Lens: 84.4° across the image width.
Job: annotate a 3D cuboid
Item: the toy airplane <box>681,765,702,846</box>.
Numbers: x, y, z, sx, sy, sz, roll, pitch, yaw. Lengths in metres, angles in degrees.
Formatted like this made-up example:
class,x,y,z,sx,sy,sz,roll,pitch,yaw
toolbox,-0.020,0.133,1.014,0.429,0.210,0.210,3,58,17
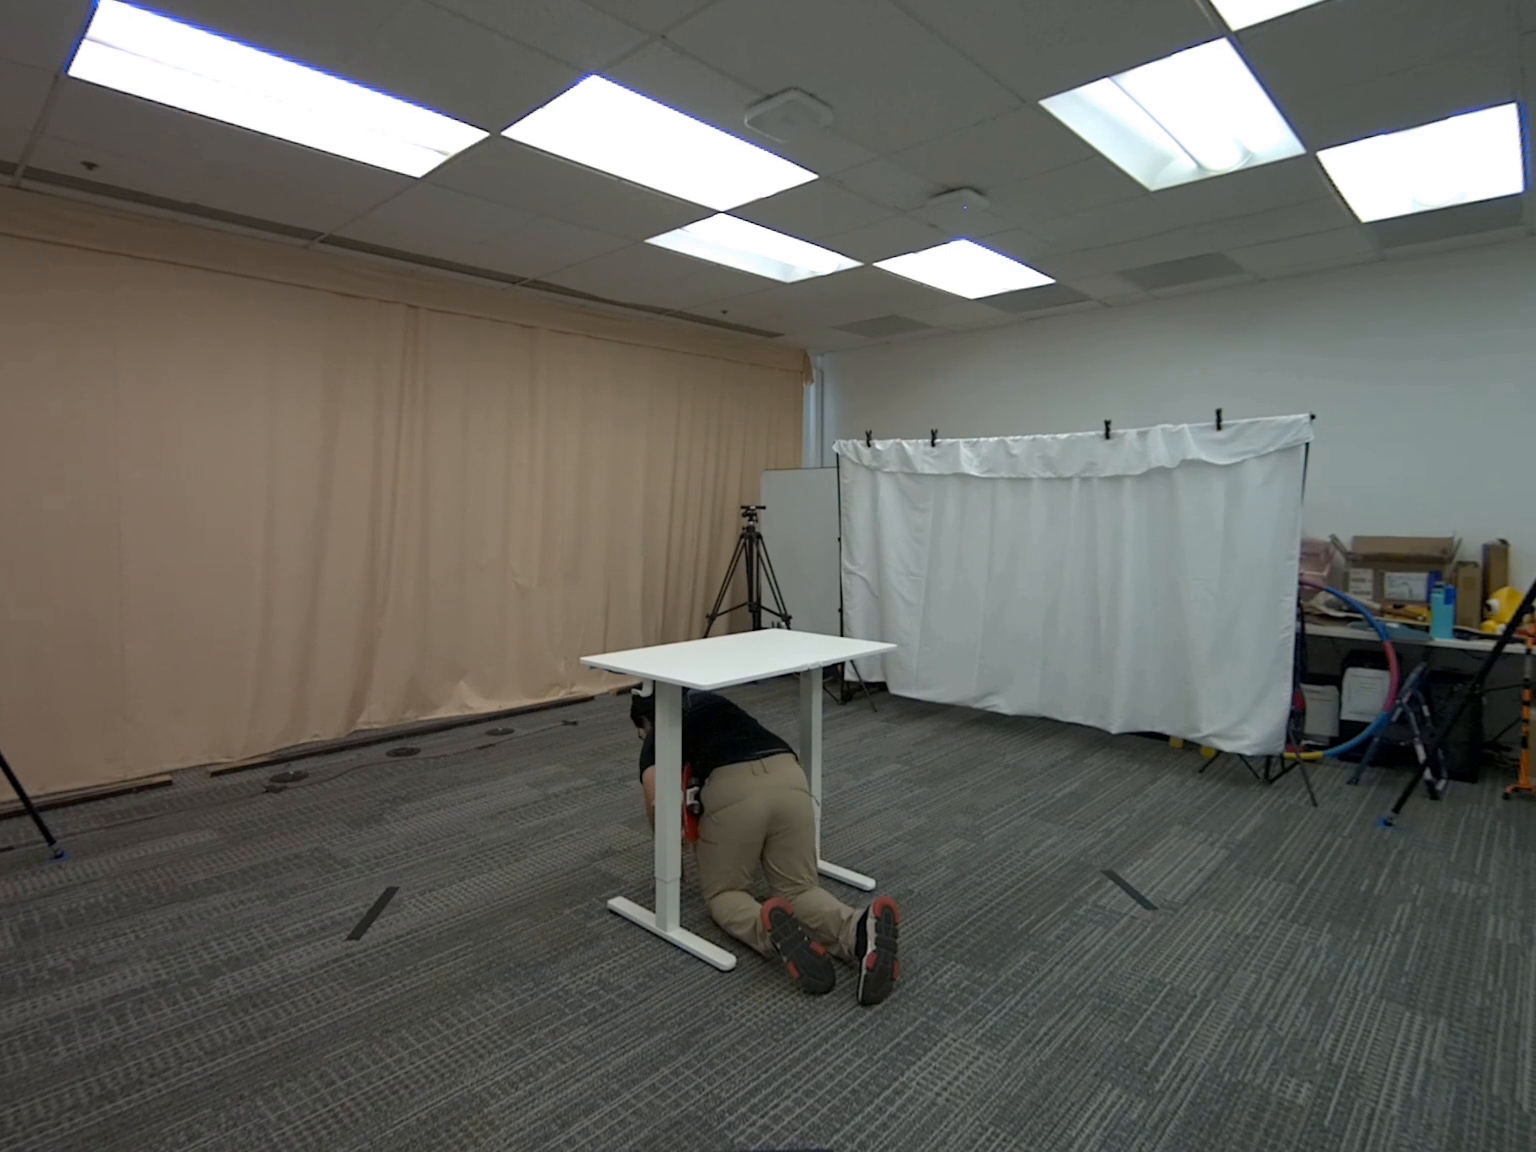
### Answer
class,x,y,z,sx,sy,sz,roll,pitch,yaw
toy airplane,-0.258,0.795,2.886,0.159,0.253,0.253,-13,29,17
